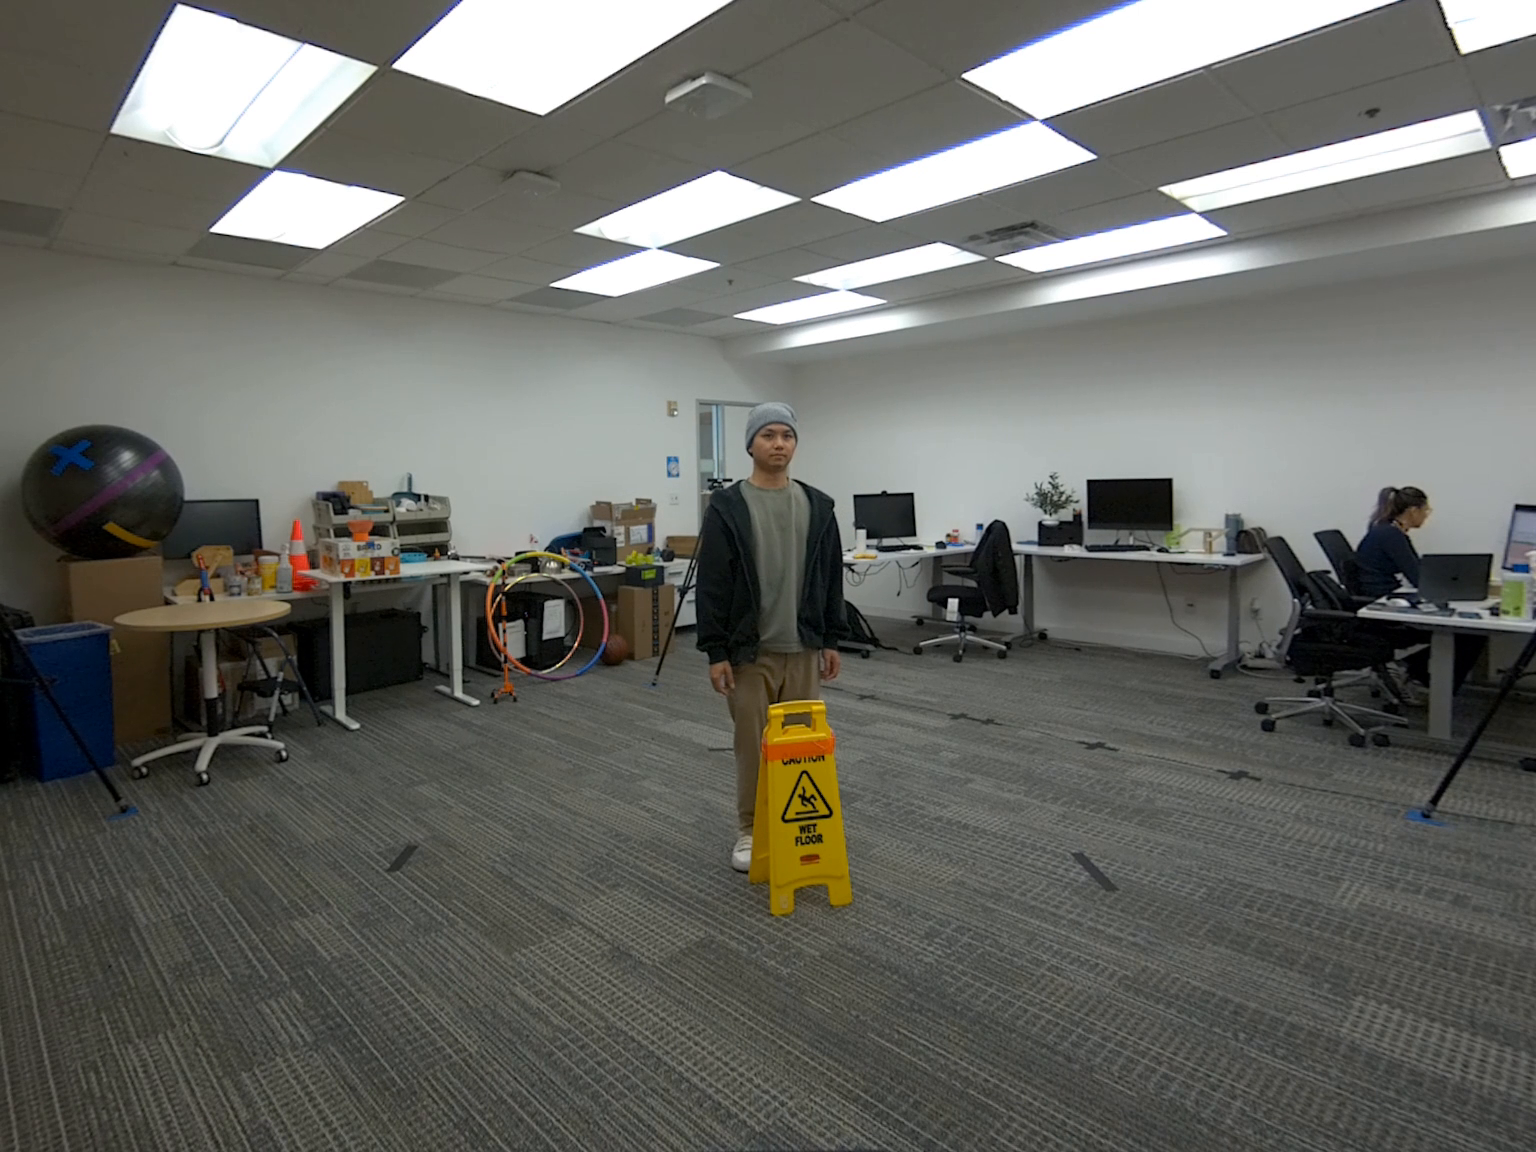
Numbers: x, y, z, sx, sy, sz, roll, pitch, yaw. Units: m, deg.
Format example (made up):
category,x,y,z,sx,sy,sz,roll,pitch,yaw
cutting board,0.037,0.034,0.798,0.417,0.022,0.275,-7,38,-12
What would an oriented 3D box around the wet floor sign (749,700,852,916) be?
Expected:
category,x,y,z,sx,sy,sz,roll,pitch,yaw
wet floor sign,0.101,0.744,2.860,0.278,0.642,0.295,-3,6,-16
